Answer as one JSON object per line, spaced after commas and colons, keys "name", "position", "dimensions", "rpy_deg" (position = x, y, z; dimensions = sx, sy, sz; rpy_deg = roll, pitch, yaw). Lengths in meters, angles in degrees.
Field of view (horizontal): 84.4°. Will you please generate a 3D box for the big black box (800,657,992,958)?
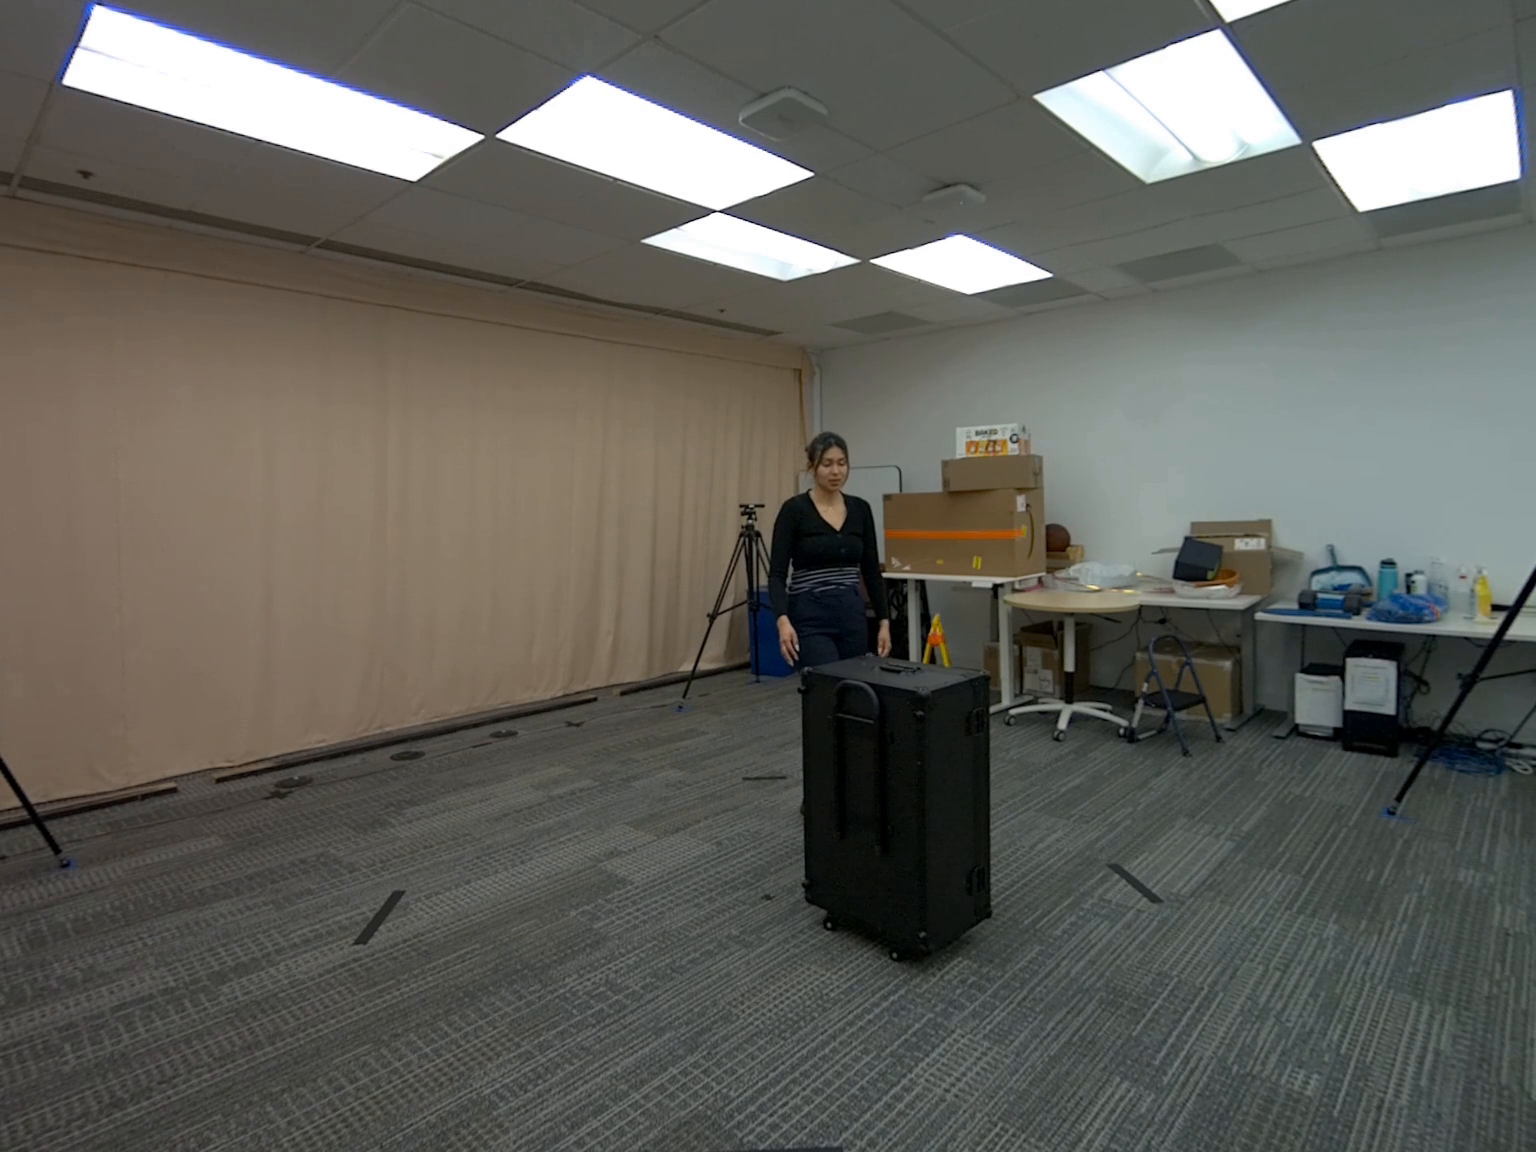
{"name": "big black box", "position": [0.409, 0.733, 2.709], "dimensions": [0.384, 0.859, 0.538], "rpy_deg": [-5, 6, -43]}
